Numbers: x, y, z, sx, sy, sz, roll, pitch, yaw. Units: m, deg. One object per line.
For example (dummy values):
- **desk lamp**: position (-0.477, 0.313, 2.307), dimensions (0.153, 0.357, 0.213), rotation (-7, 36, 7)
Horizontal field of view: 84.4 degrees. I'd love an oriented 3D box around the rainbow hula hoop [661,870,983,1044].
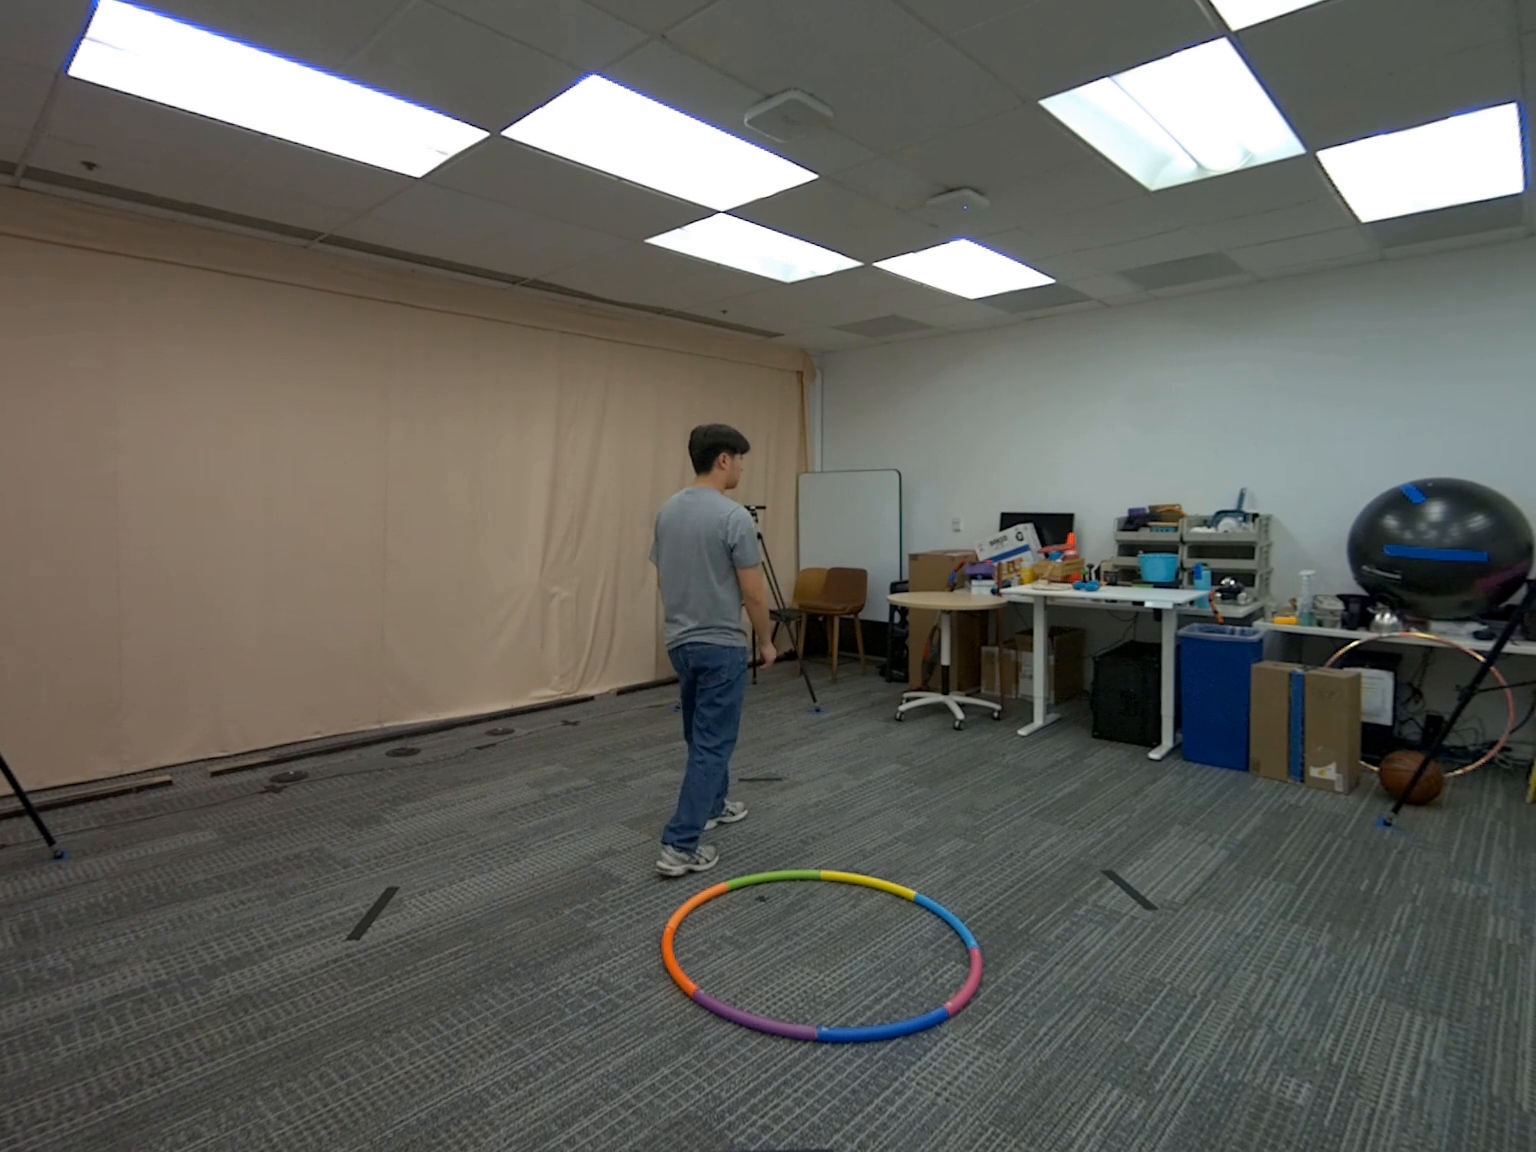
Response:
- **rainbow hula hoop**: position (0.160, 1.139, 2.667), dimensions (0.978, 0.035, 0.982), rotation (-1, 5, -2)
